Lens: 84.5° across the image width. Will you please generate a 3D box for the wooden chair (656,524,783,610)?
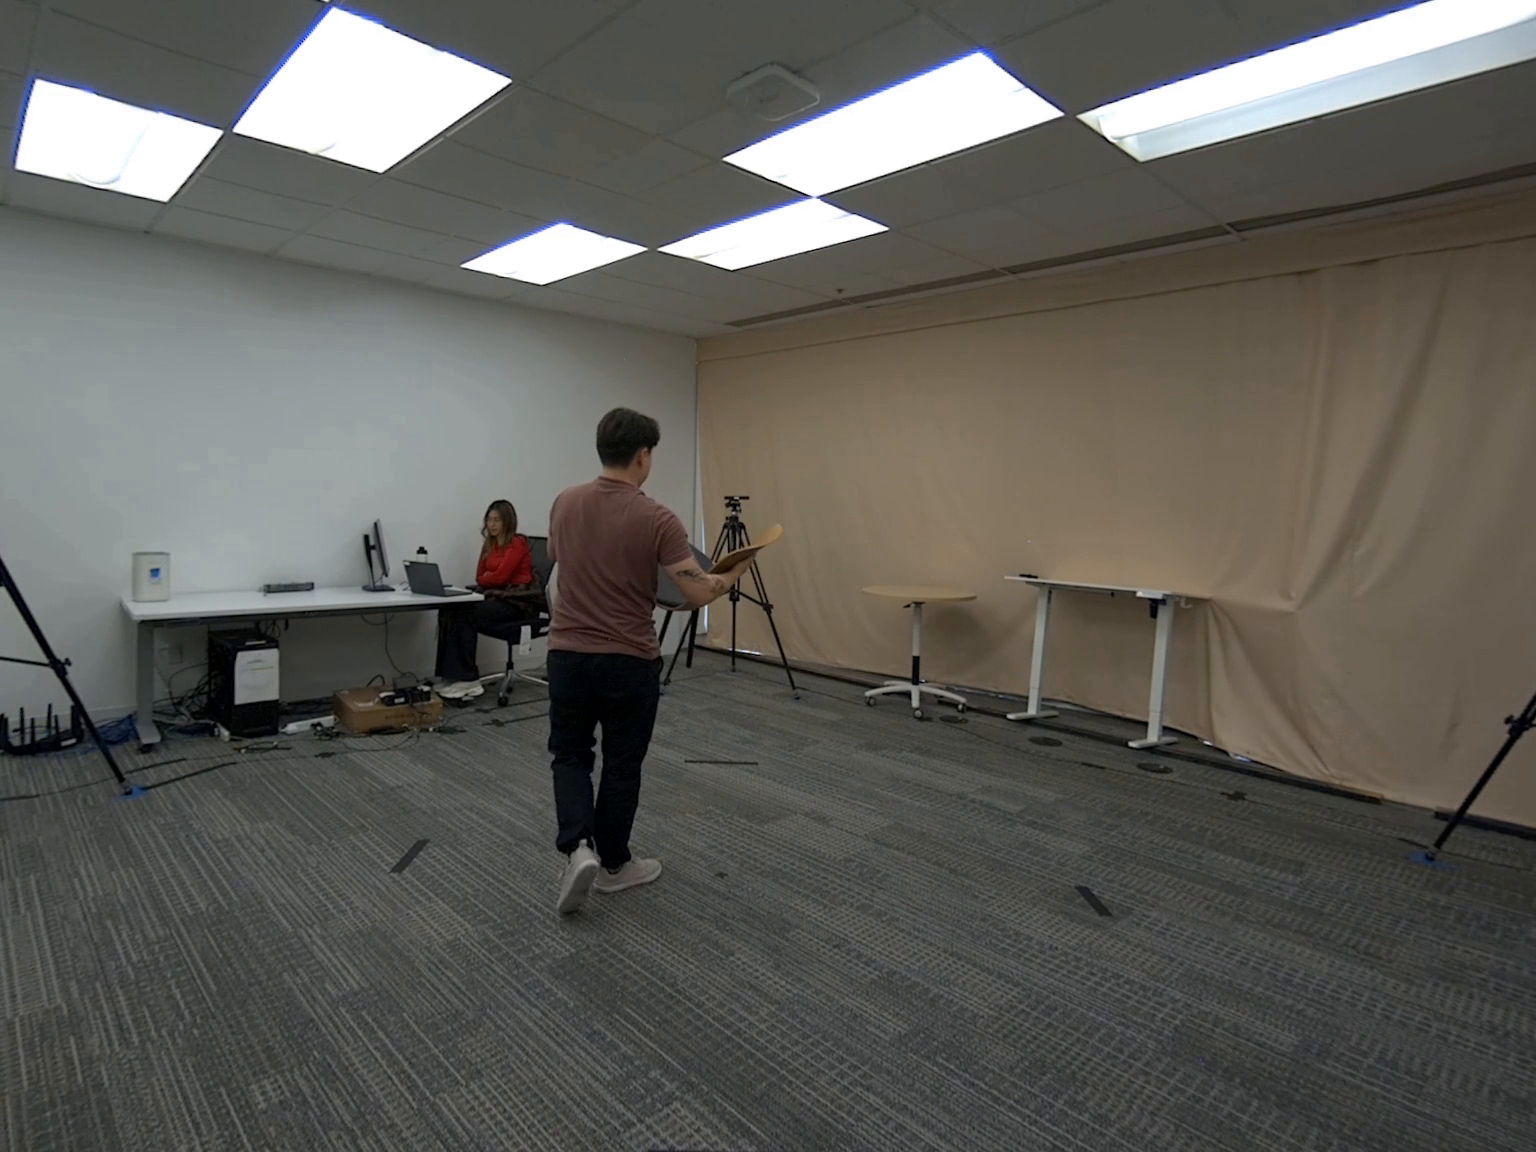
[{"bbox_3d":[-0.403,0.015,3.233,0.528,0.874,0.475,41,30,7],"label":"wooden chair"}]
